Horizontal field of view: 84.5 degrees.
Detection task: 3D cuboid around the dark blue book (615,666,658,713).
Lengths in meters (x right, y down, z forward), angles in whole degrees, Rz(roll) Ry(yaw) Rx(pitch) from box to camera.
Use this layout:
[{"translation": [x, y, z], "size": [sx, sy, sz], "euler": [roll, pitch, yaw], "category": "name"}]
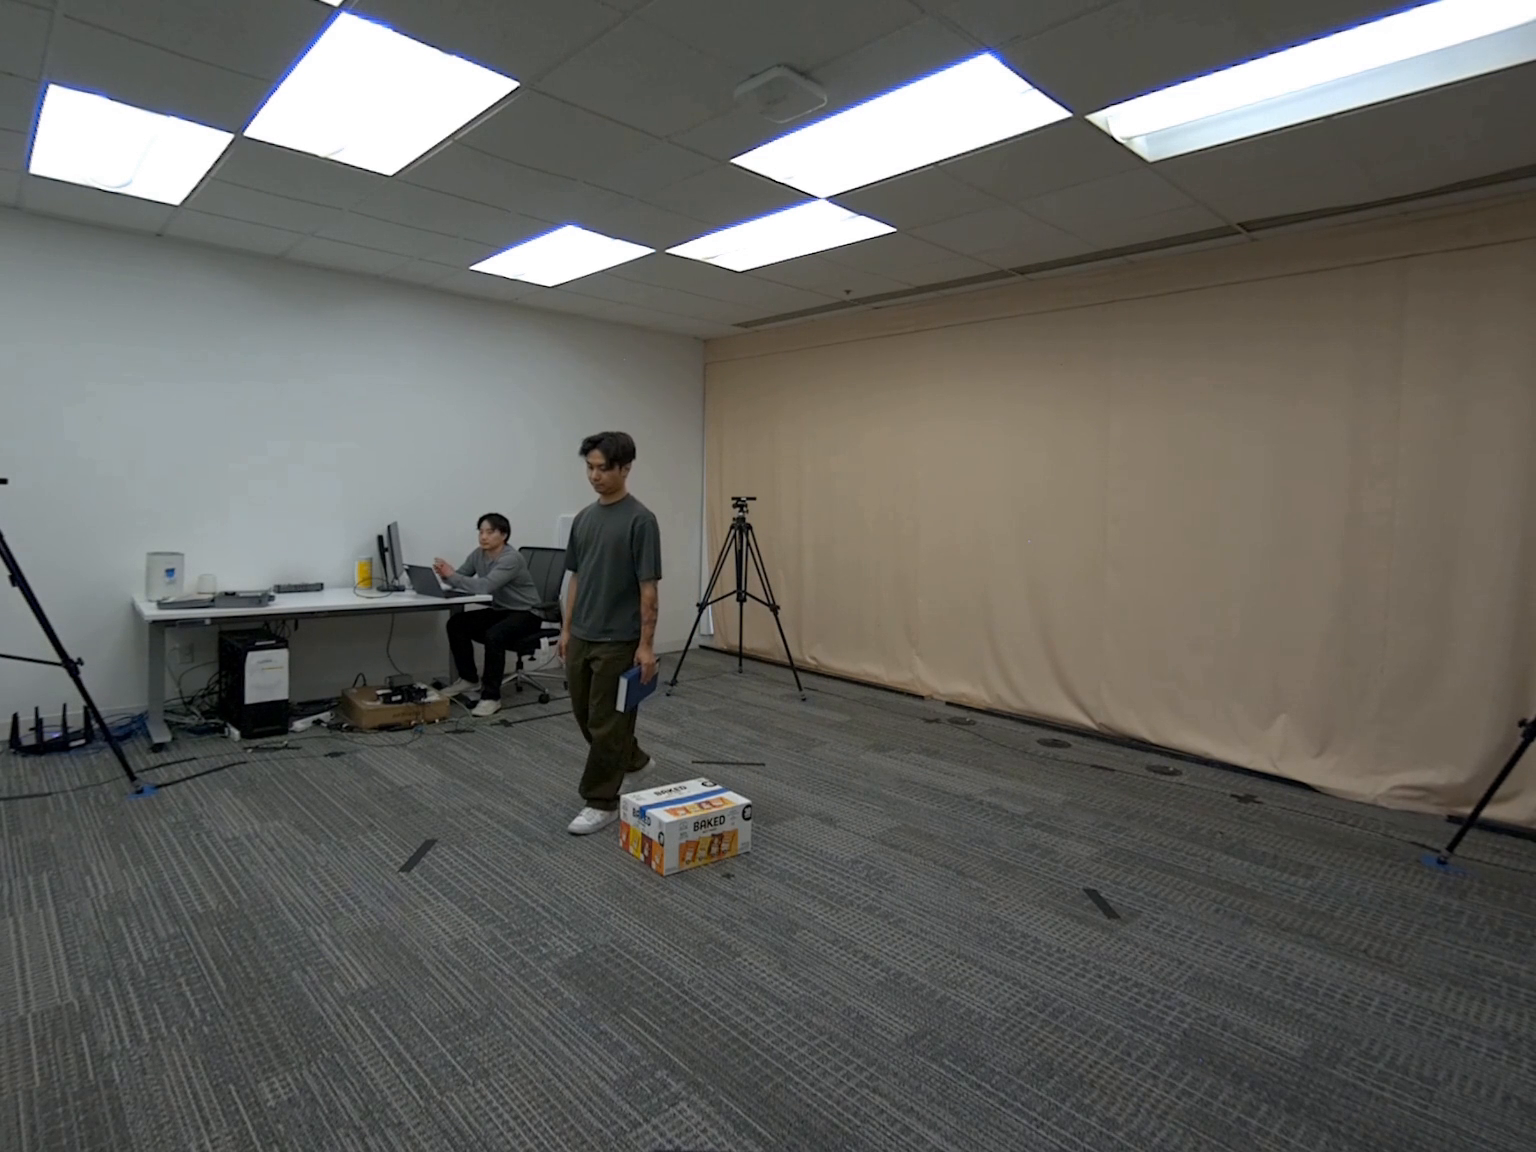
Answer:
[{"translation": [-0.537, 0.441, 3.465], "size": [0.046, 0.161, 0.243], "euler": [15, 21, 20], "category": "dark blue book"}]
